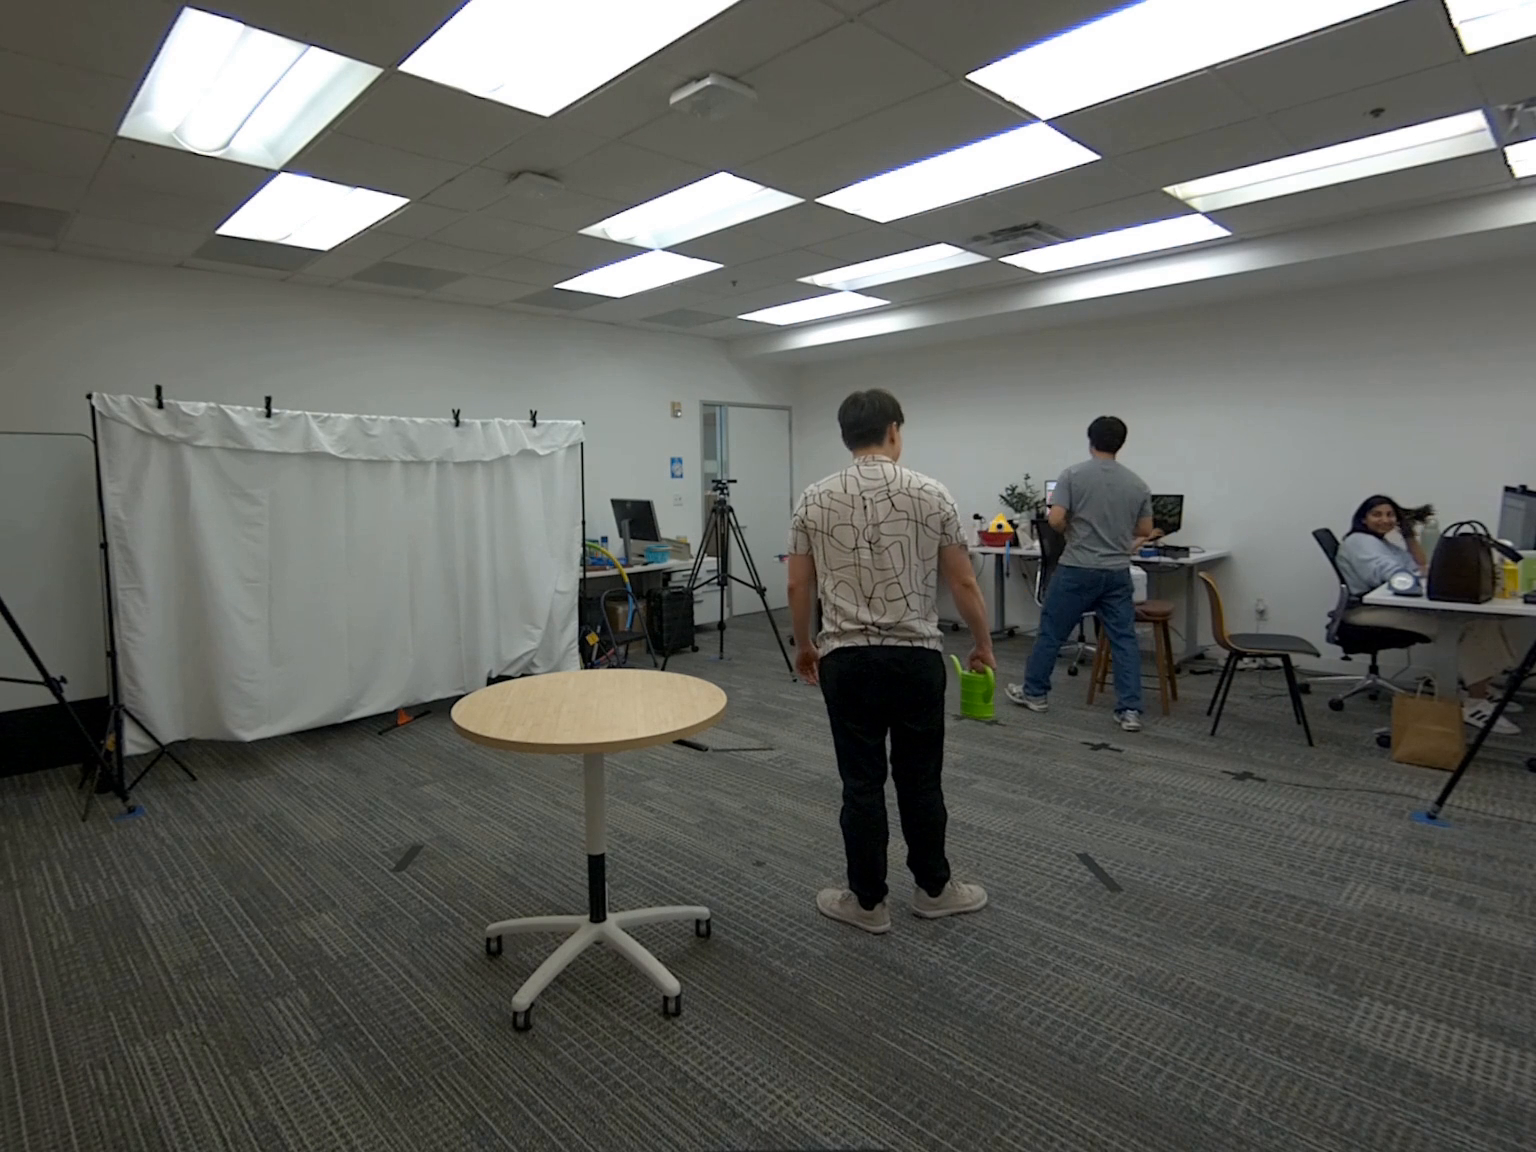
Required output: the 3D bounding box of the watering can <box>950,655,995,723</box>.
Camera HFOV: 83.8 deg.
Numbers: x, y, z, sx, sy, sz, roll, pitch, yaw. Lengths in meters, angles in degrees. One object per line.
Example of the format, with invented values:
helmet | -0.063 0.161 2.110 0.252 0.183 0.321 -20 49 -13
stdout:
watering can | 0.669 0.357 2.760 0.098 0.177 0.277 1 1 1
